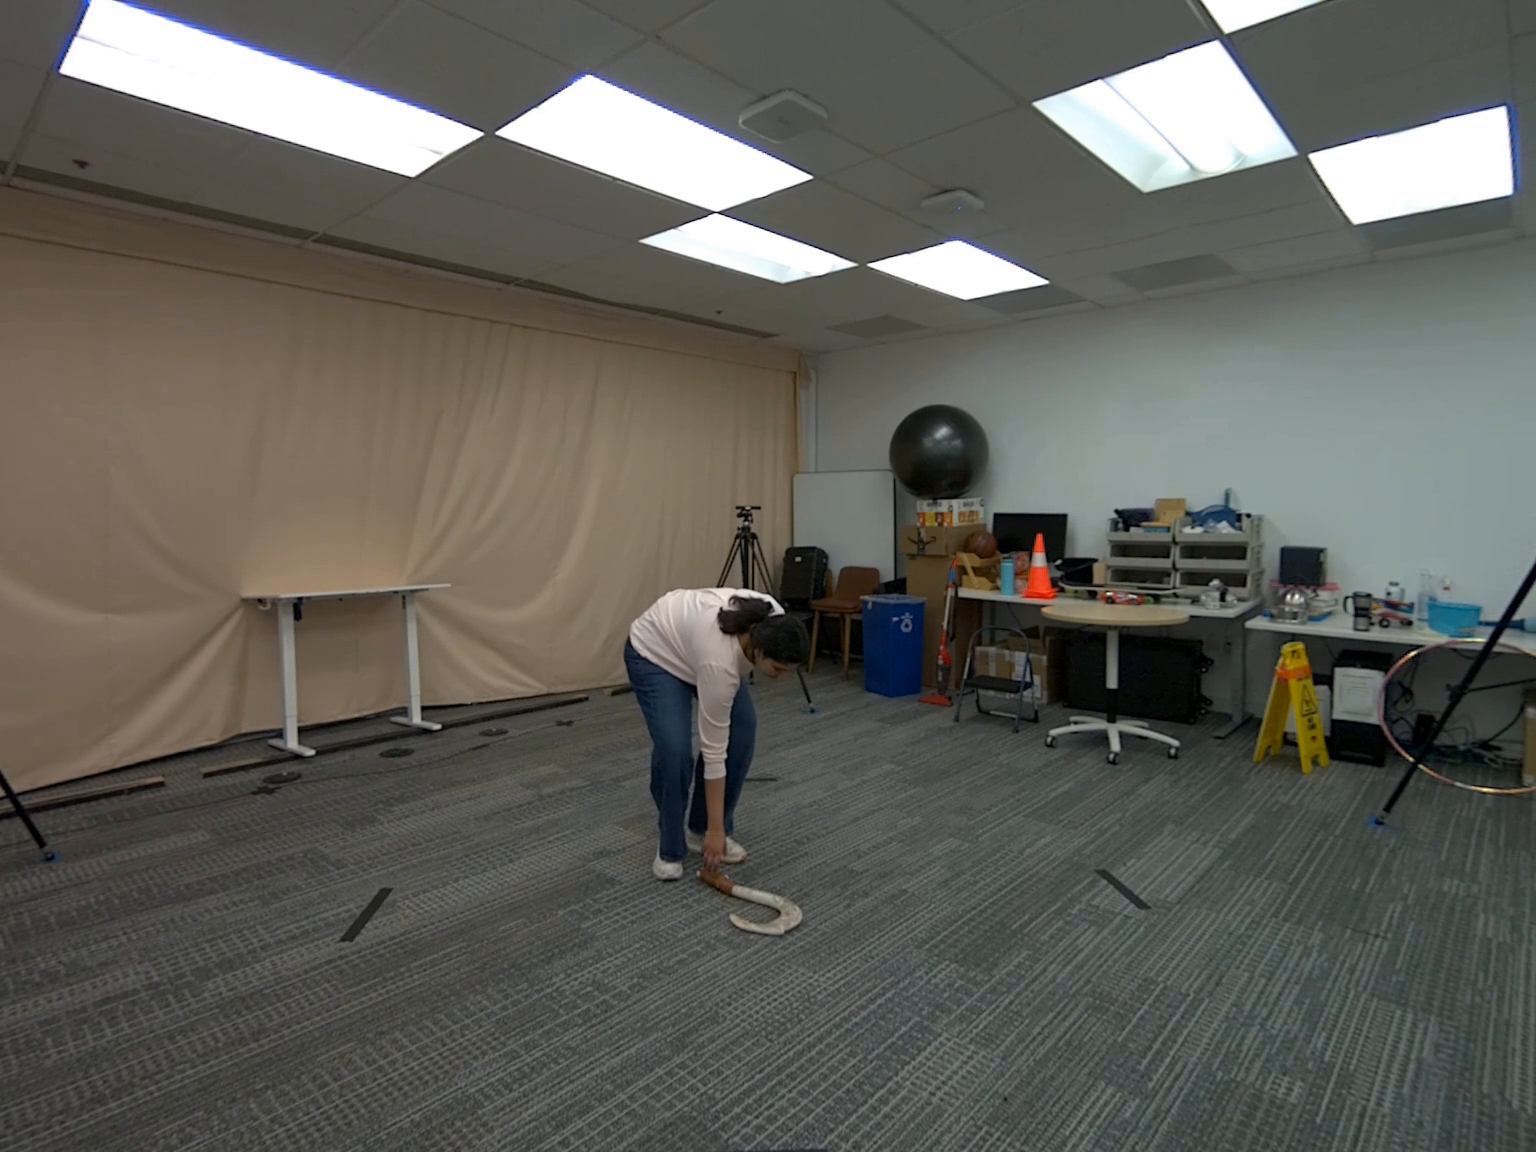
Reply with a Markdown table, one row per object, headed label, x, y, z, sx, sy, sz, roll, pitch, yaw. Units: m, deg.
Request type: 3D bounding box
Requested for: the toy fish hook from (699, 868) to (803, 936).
| label | x | y | z | sx | sy | sz | roll | pitch | yaw |
| --- | --- | --- | --- | --- | --- | --- | --- | --- | --- |
| toy fish hook | -0.106 | 1.125 | 2.928 | 0.524 | 0.048 | 0.217 | 5 | 5 | 44 |
